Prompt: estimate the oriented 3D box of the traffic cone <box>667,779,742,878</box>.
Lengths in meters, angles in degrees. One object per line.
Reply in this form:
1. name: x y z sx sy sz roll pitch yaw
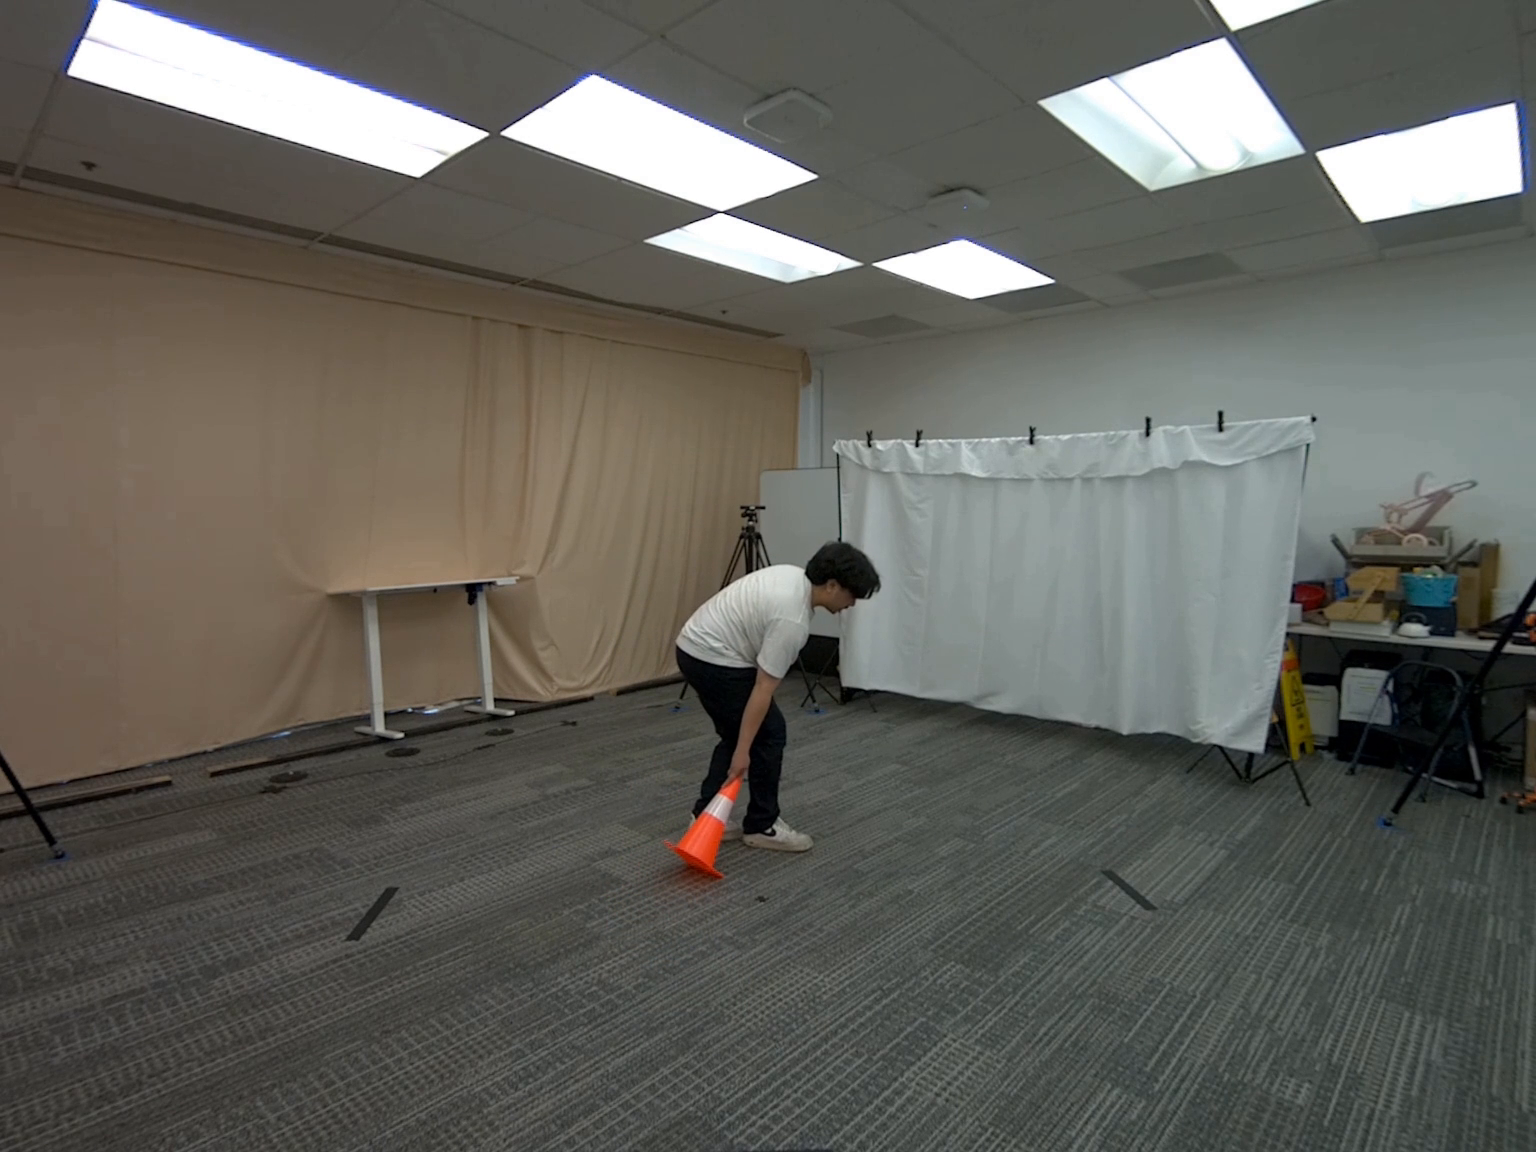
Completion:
1. traffic cone: -0.188 0.916 3.243 0.211 0.383 0.197 15 -28 29
